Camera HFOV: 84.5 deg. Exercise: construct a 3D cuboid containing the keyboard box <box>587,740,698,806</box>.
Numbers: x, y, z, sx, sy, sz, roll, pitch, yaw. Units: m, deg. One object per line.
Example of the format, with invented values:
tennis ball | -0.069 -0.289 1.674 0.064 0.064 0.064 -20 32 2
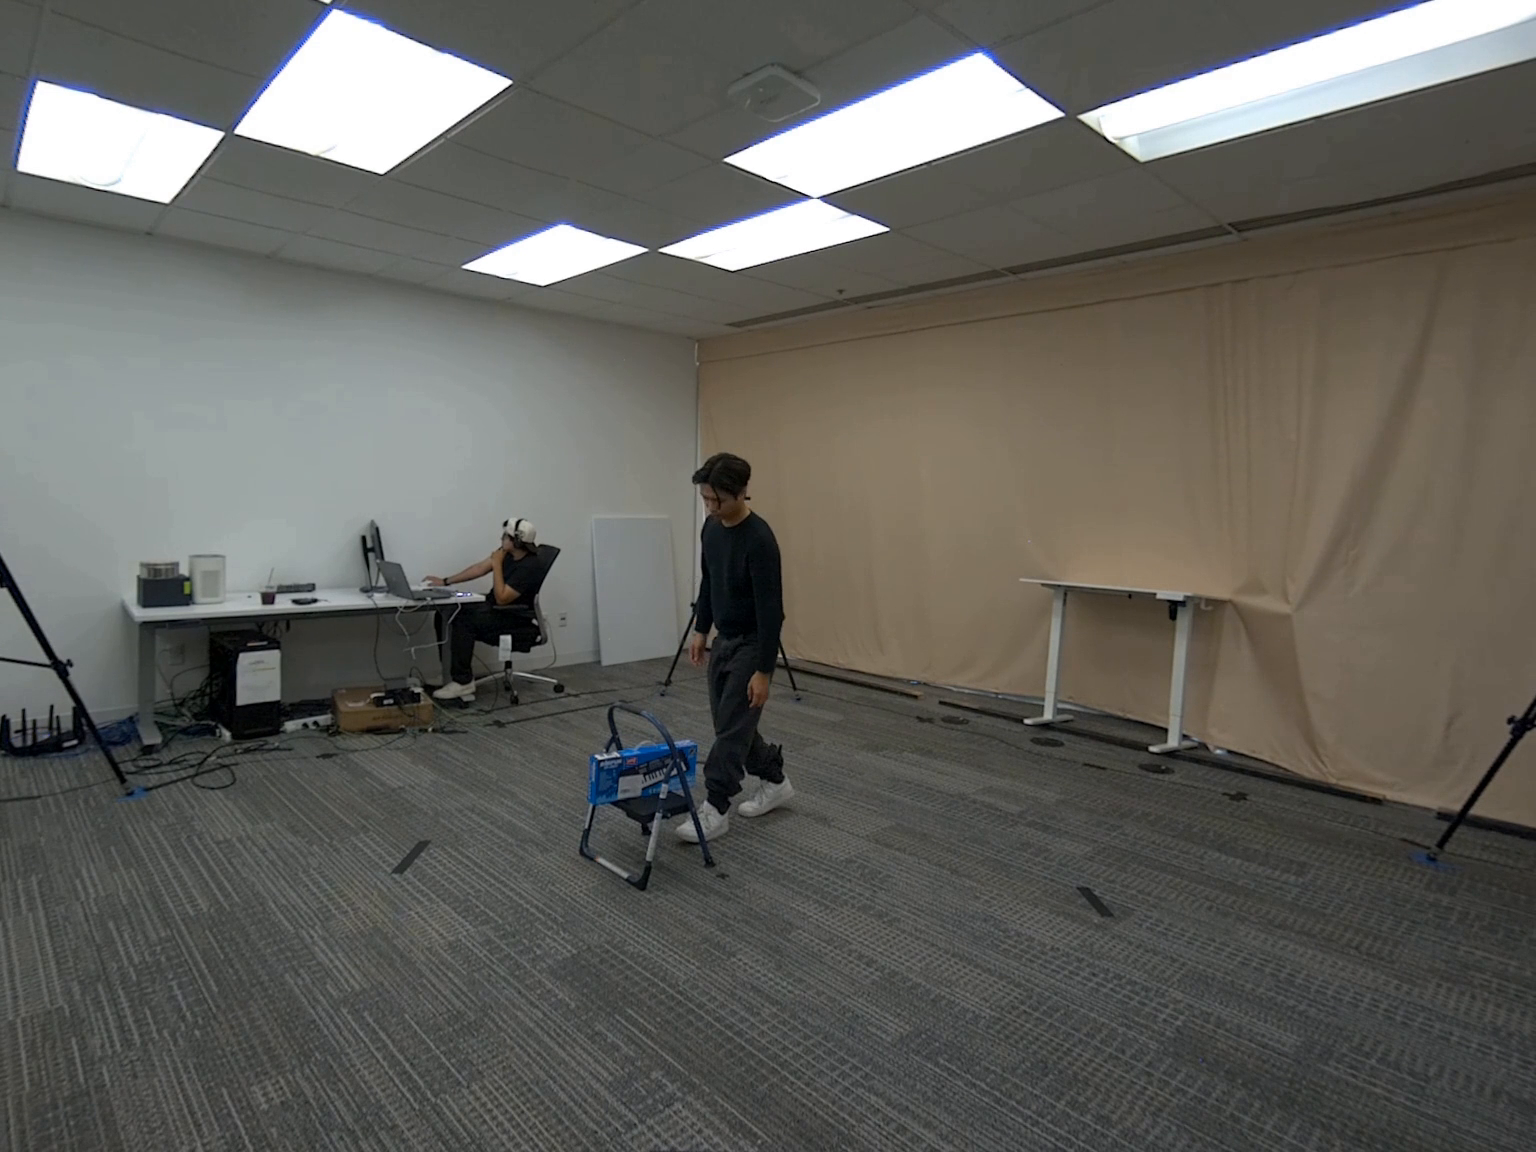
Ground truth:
keyboard box | -0.473 0.742 3.186 0.427 0.175 0.061 -1 8 -38
